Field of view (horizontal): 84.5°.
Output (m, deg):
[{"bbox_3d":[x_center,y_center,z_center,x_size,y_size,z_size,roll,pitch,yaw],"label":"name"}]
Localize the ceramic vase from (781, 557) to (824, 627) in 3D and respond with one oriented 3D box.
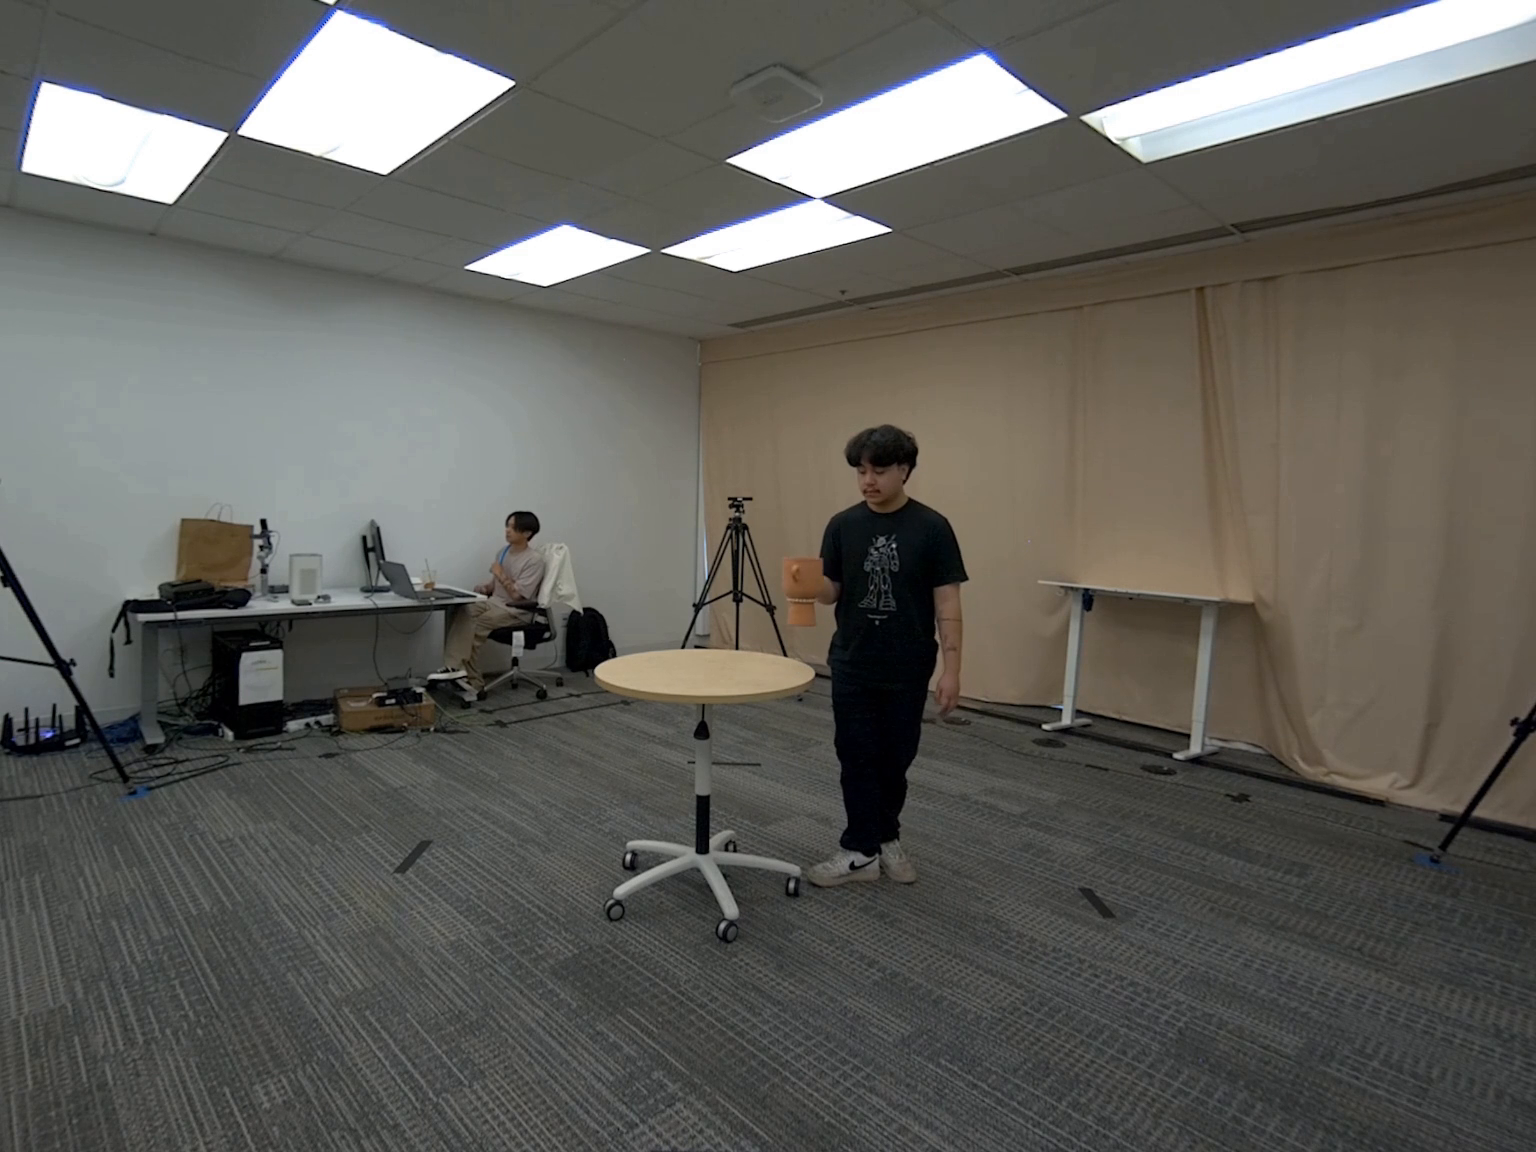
[{"bbox_3d":[0.097,0.050,2.751,0.155,0.219,0.137,0,2,-32],"label":"ceramic vase"}]
